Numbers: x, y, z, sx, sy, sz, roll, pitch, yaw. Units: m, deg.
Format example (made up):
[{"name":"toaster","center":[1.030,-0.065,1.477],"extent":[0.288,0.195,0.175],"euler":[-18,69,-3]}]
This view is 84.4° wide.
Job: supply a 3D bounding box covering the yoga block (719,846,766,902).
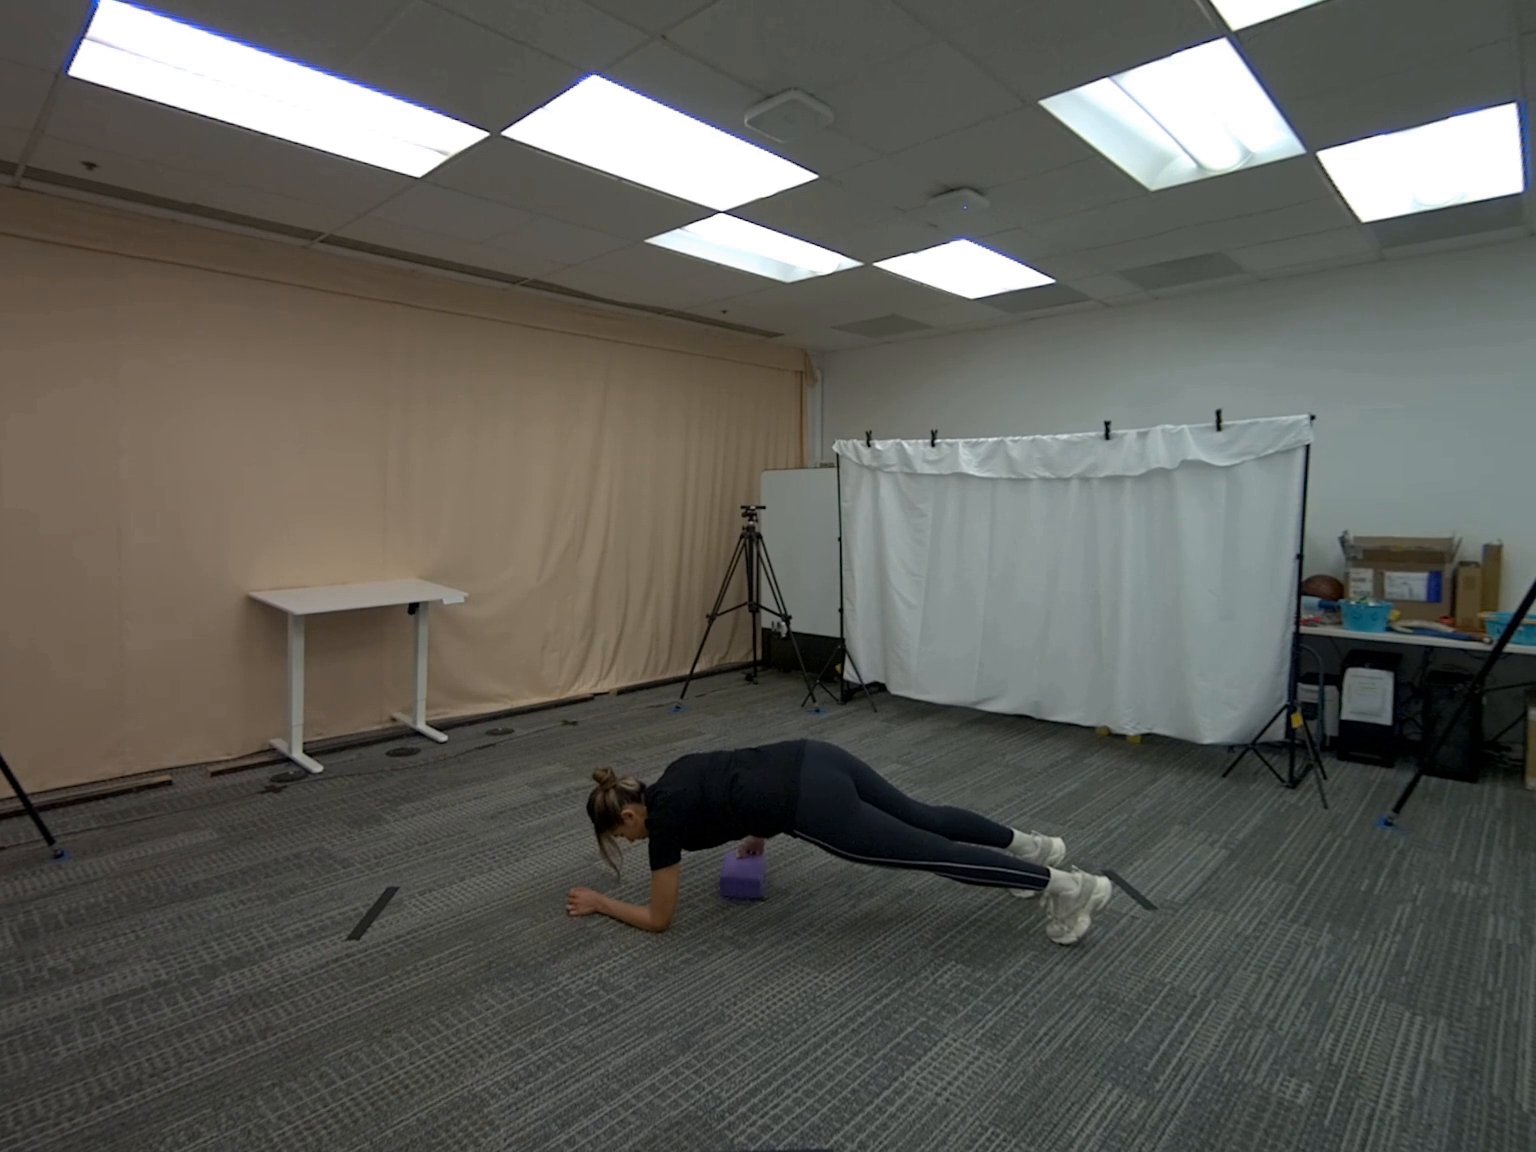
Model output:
[{"name":"yoga block","center":[-0.088,1.092,3.085],"extent":[0.150,0.076,0.228],"euler":[0,3,3]}]
